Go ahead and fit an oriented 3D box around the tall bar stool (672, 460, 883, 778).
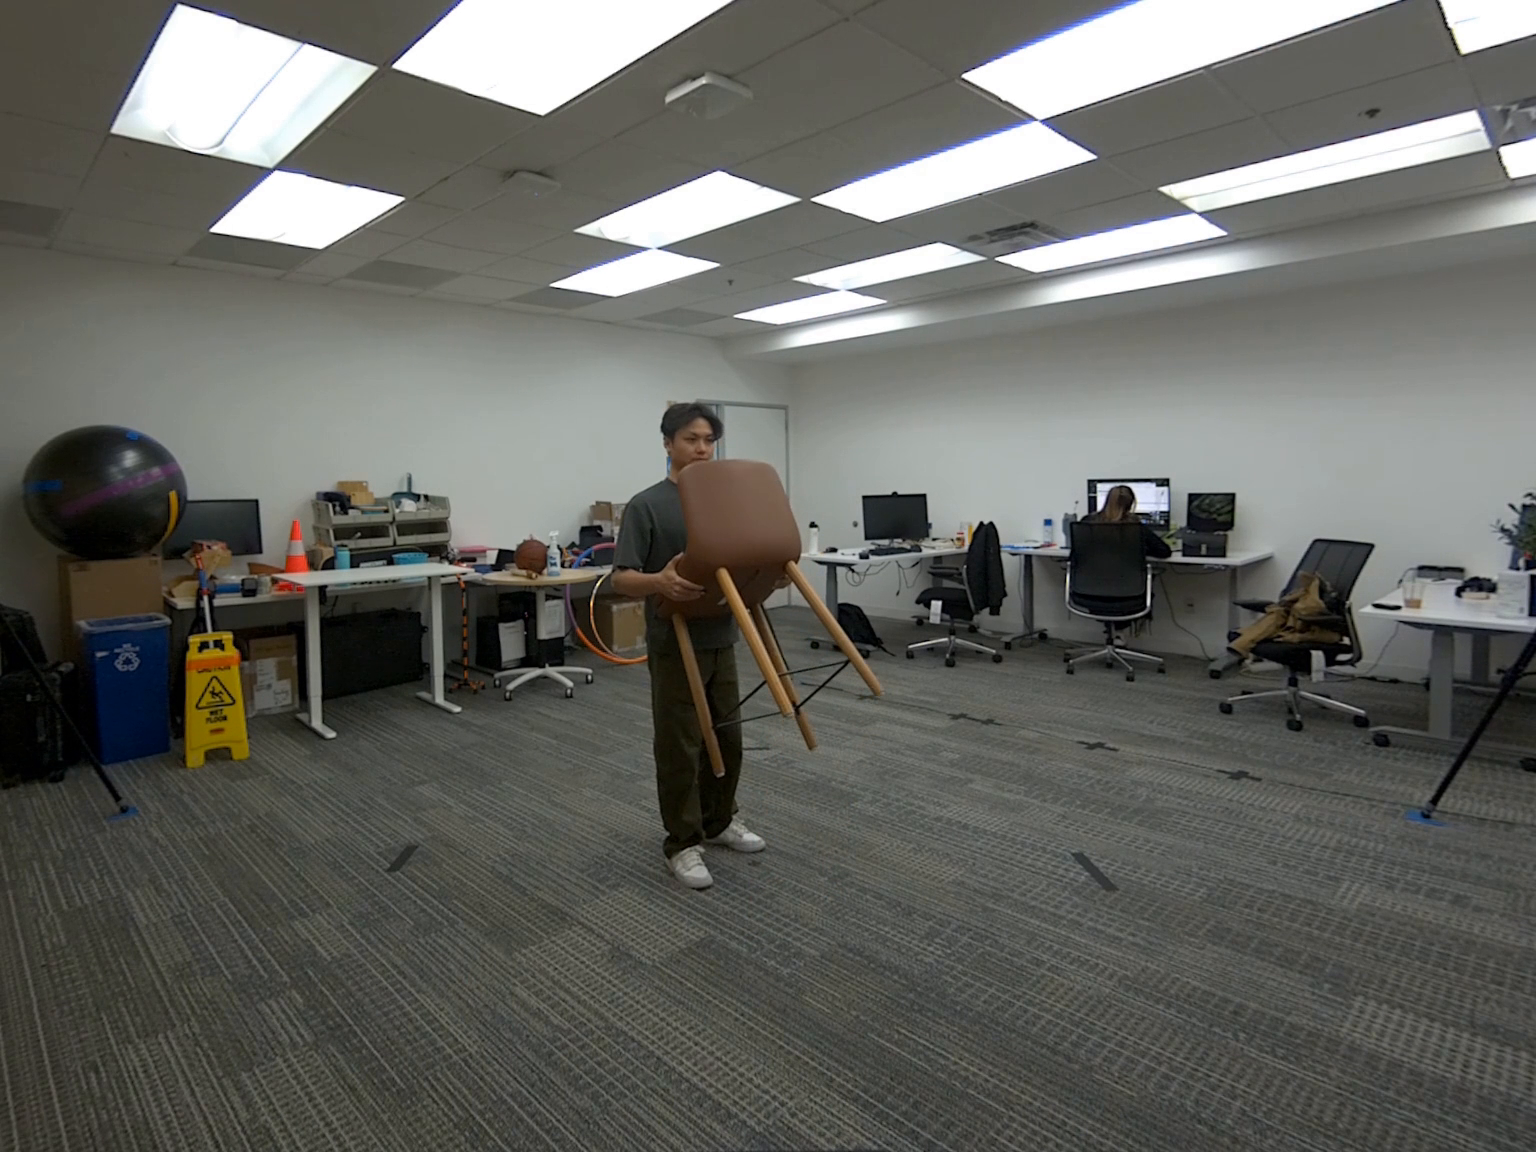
[{"bbox_3d":[-0.064,0.116,2.795,0.445,0.914,0.467,-6,-28,-35],"label":"tall bar stool"}]
